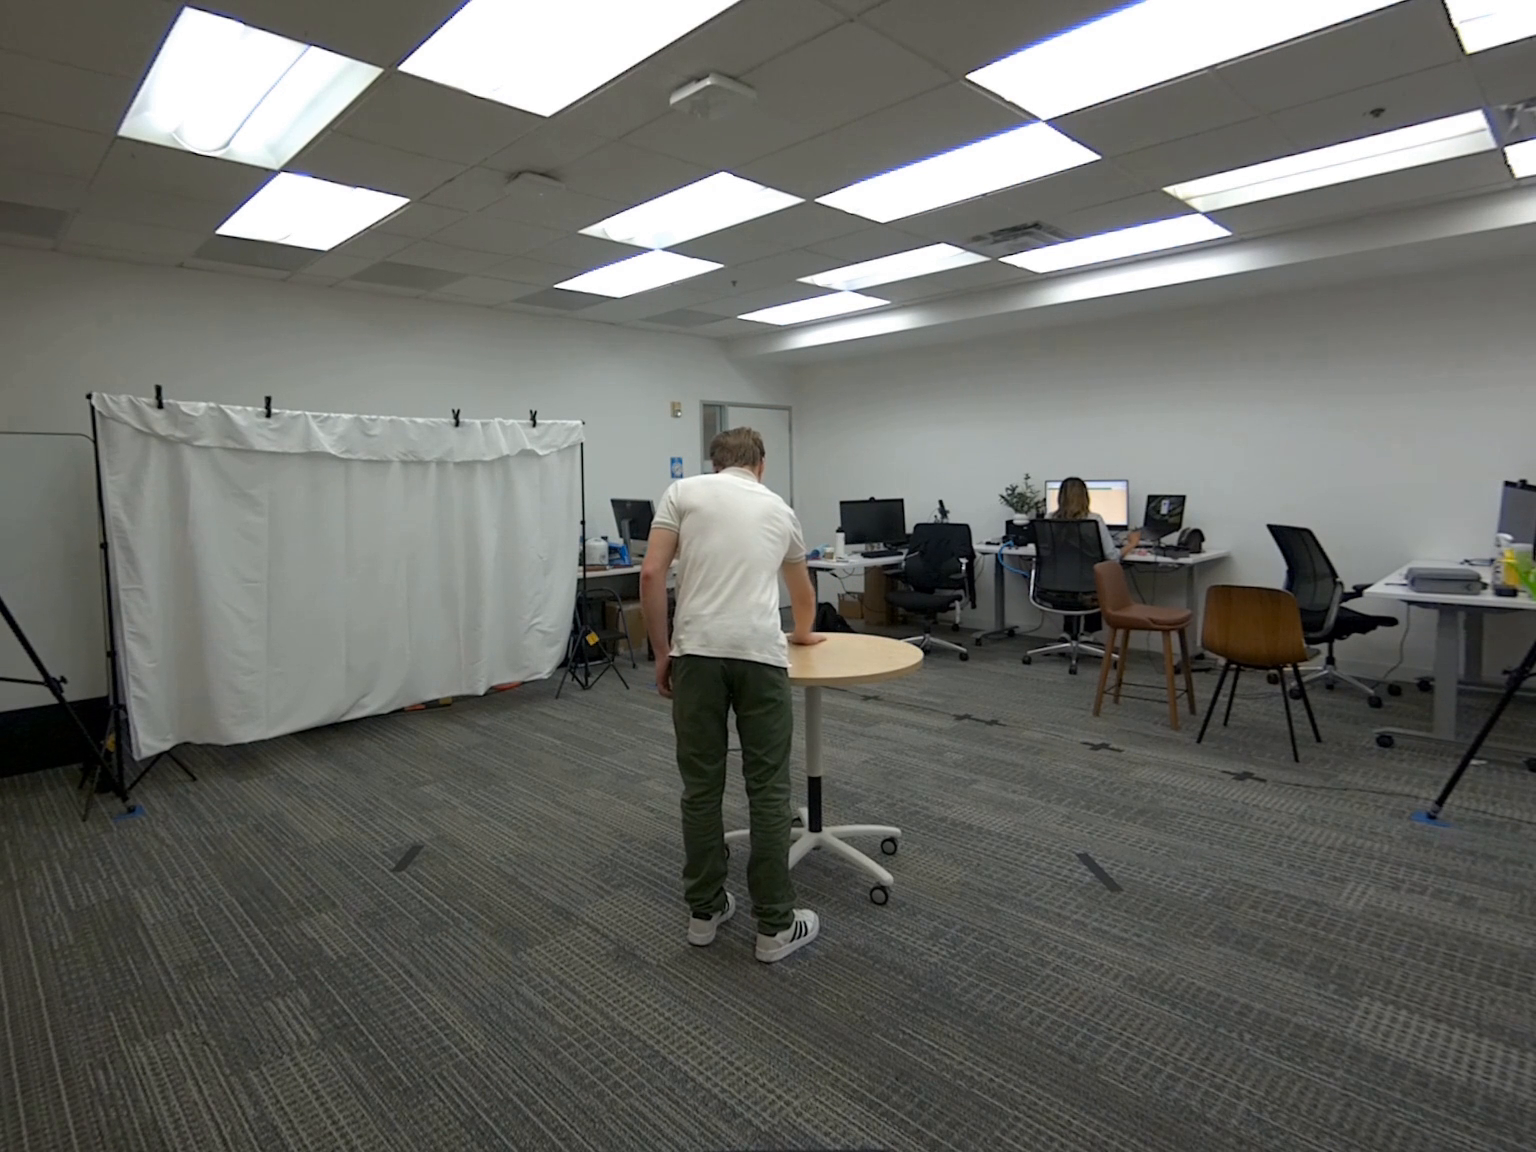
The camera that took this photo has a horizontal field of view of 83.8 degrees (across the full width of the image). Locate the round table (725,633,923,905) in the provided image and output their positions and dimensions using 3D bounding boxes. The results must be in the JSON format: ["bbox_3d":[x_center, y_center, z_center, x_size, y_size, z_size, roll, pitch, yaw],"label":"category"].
[{"bbox_3d":[0.183,0.655,3.046,0.784,0.783,0.789,-1,5,-2],"label":"round table"}]
